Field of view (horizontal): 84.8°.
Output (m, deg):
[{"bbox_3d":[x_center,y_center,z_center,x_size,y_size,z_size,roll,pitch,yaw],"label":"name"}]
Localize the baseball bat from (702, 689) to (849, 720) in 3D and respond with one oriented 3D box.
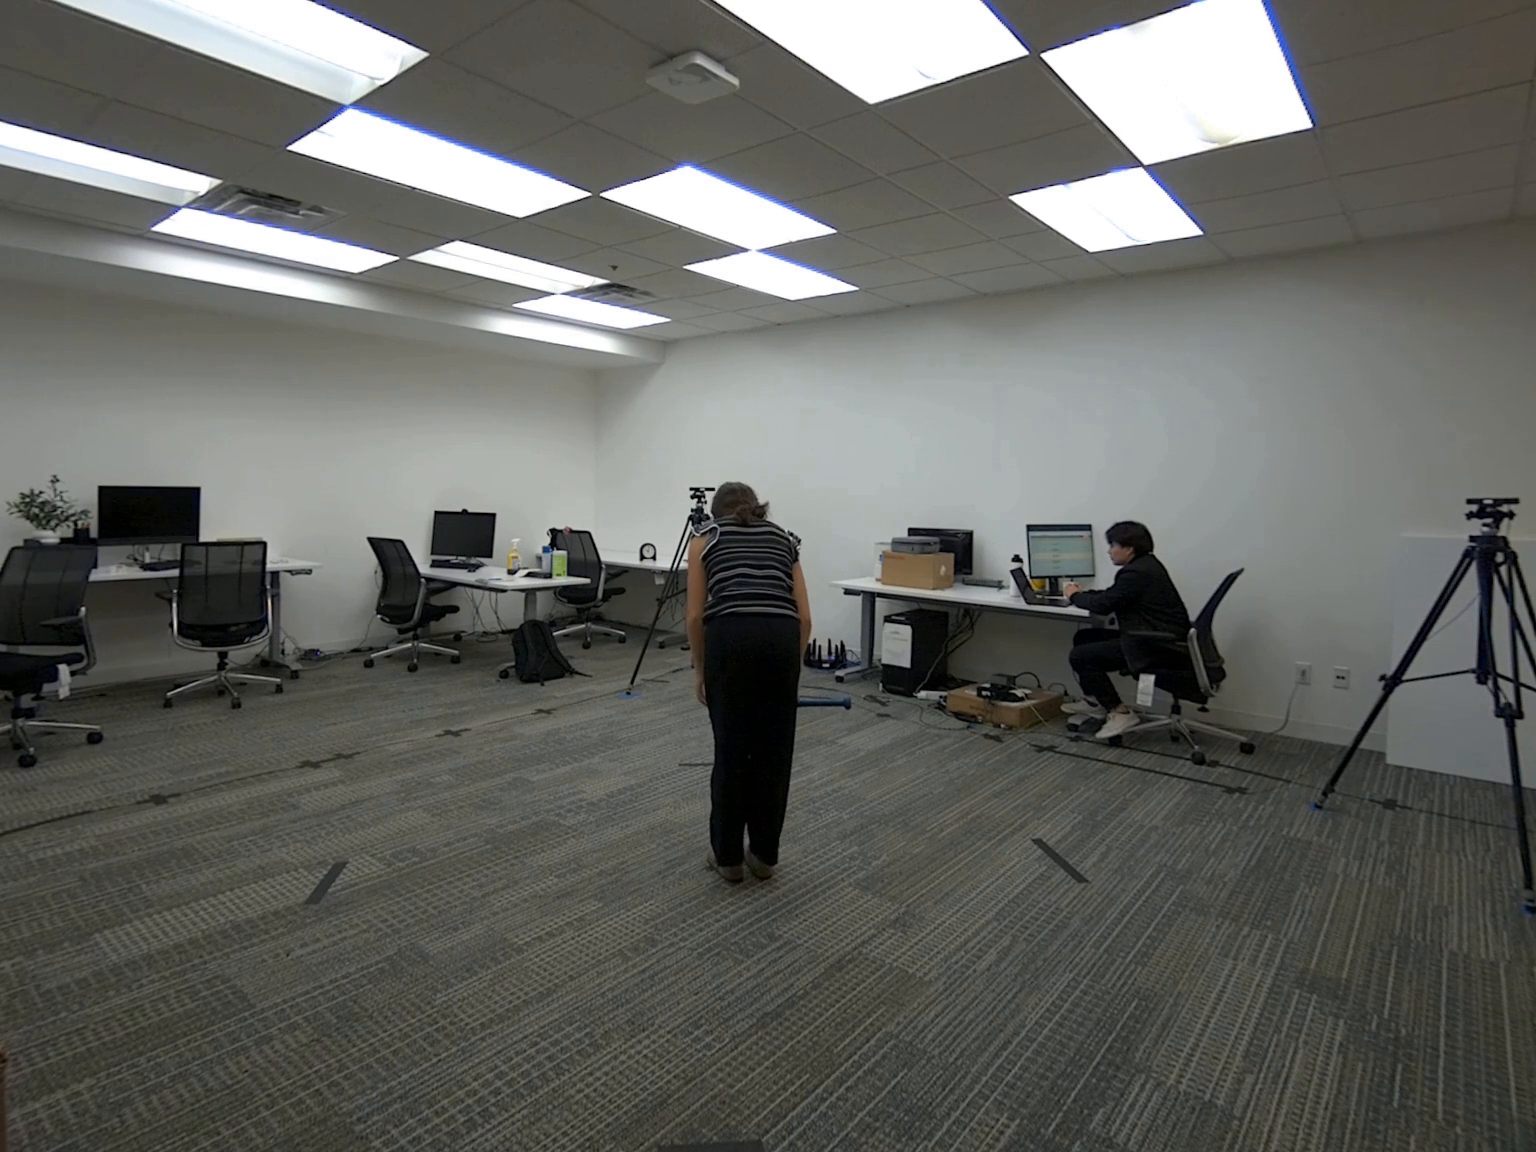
[{"bbox_3d":[0.025,0.483,3.187,0.551,0.089,0.088,-2,3,14],"label":"baseball bat"}]
